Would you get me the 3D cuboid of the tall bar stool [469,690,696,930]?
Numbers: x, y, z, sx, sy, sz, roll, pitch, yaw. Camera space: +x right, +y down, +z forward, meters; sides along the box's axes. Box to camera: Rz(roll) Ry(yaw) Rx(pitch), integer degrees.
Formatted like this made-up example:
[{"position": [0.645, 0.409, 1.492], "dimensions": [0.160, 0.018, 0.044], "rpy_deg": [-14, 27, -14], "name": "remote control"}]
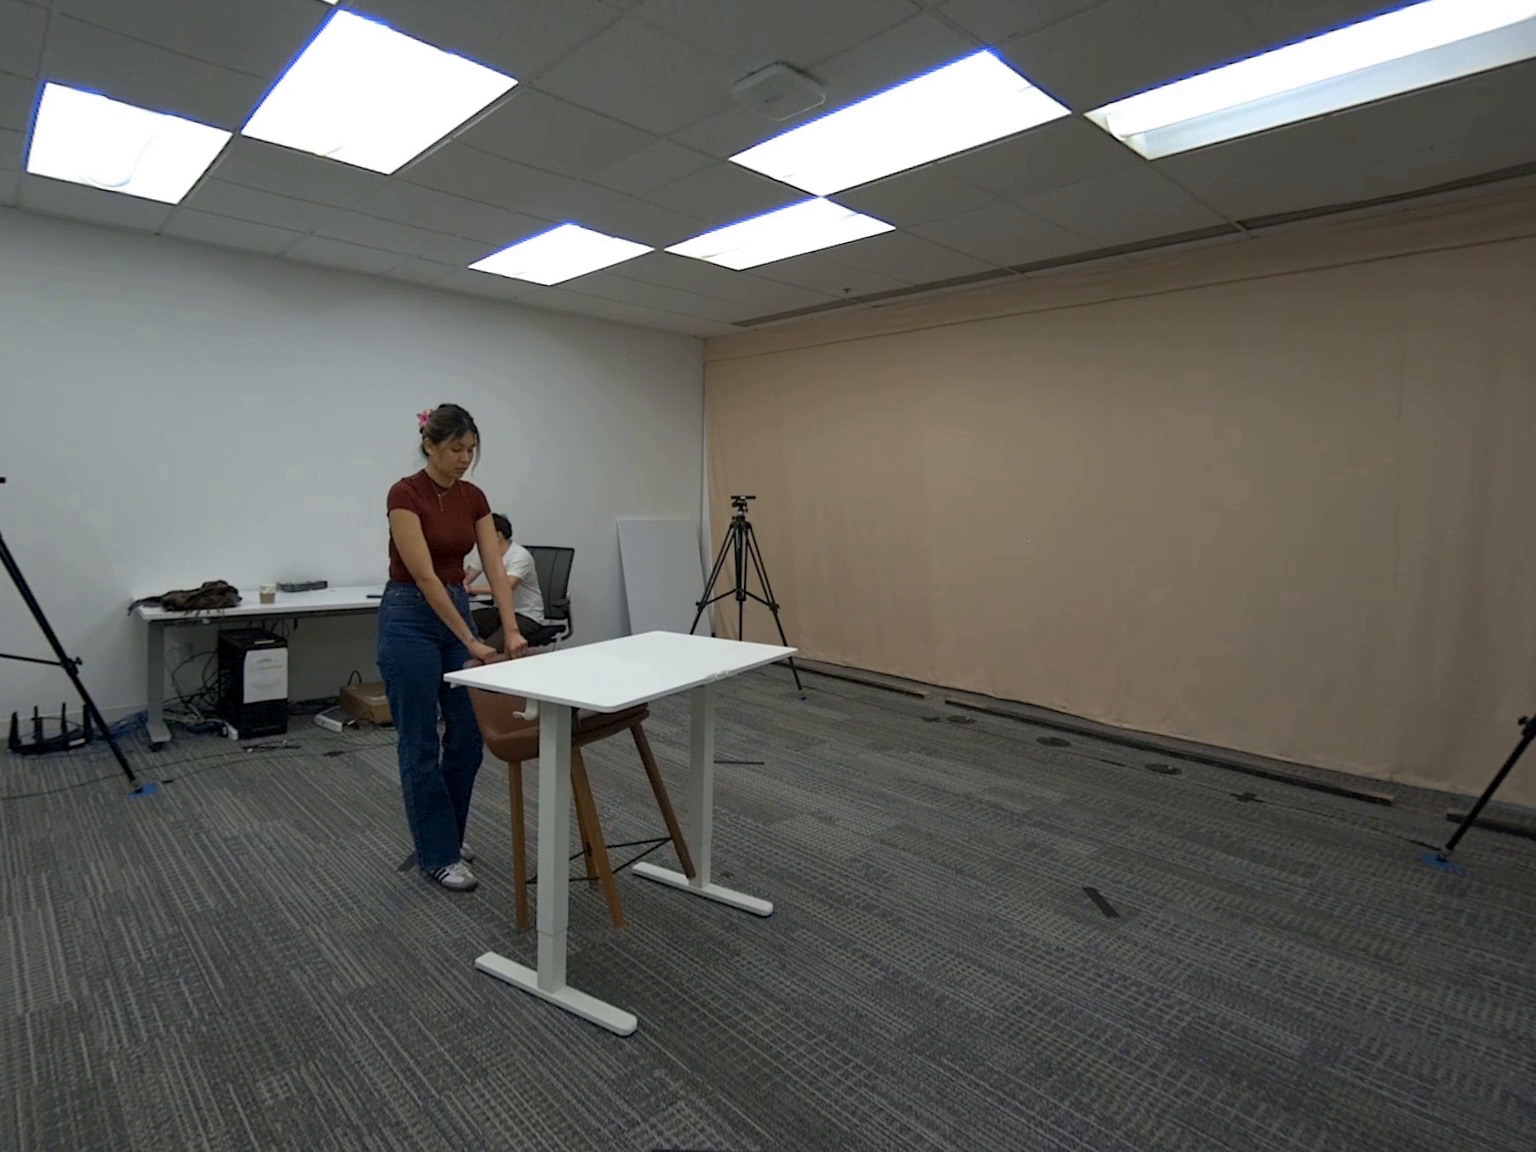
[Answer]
[{"position": [-0.647, 0.648, 2.765], "dimensions": [0.474, 0.895, 0.447], "rpy_deg": [-19, -8, 30], "name": "tall bar stool"}]
